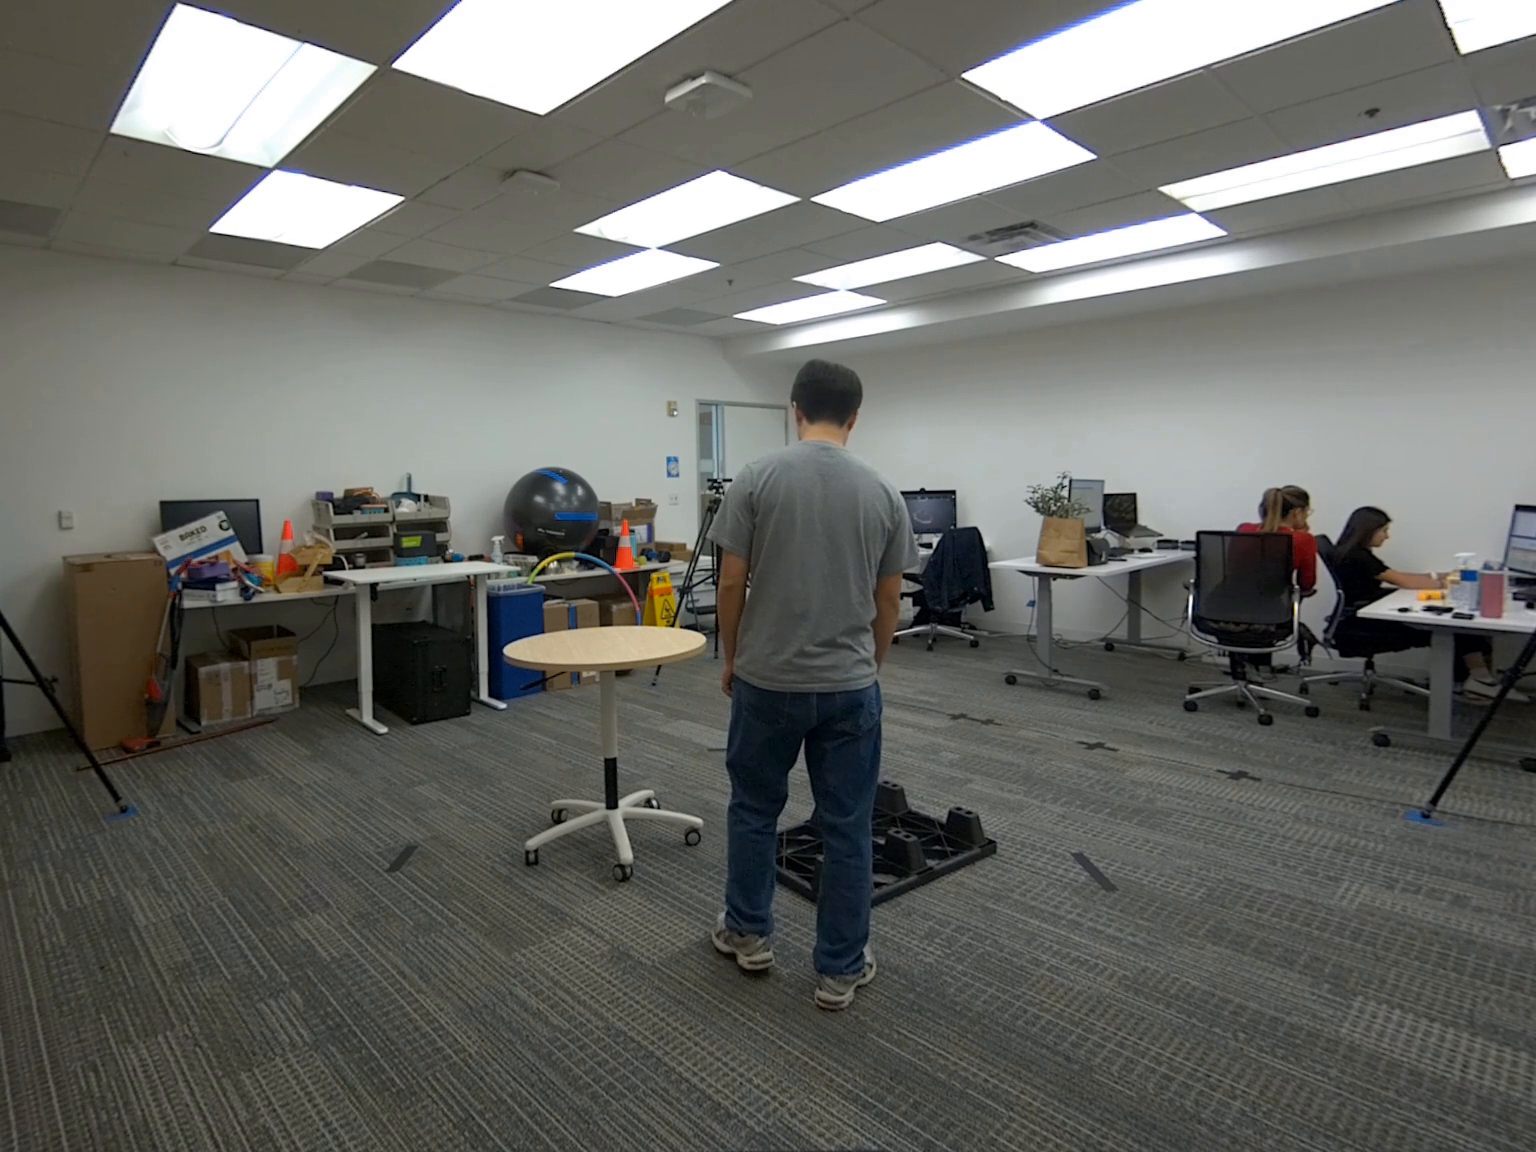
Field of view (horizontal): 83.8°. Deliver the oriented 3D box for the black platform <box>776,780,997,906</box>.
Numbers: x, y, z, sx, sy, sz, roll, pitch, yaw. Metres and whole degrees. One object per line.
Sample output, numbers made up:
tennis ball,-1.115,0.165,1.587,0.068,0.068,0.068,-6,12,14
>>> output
black platform,0.359,0.966,3.170,0.785,0.142,0.624,-6,8,-38
